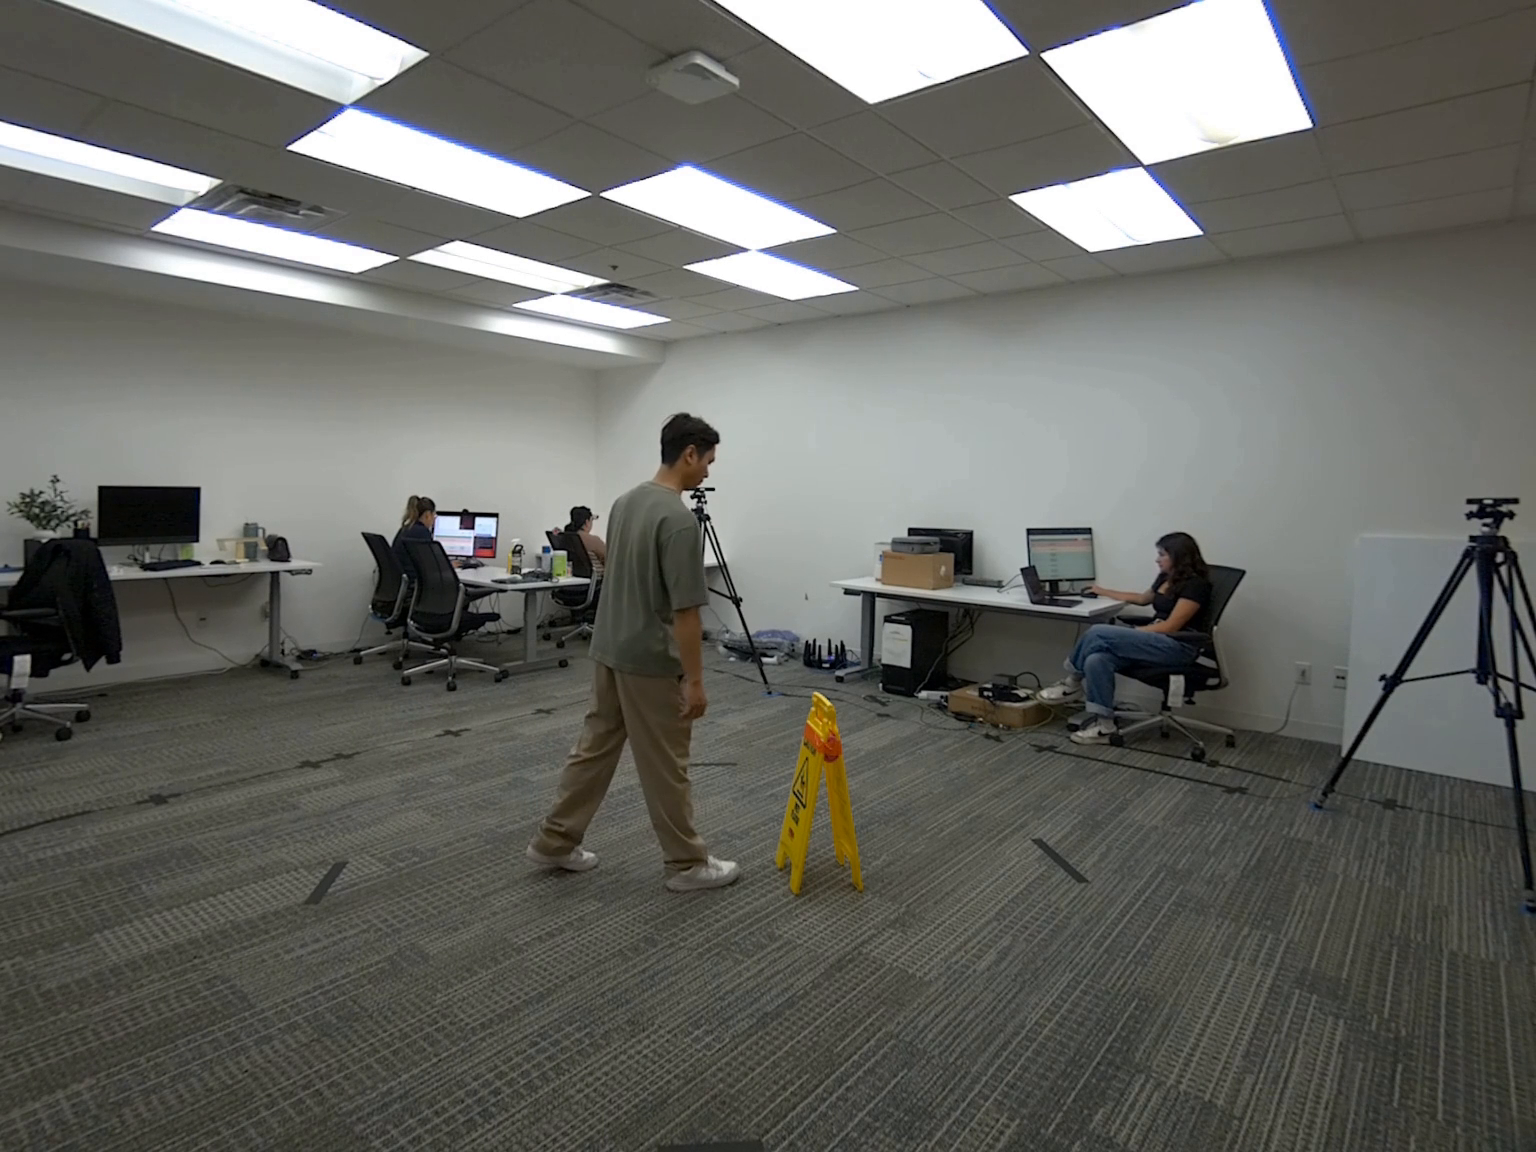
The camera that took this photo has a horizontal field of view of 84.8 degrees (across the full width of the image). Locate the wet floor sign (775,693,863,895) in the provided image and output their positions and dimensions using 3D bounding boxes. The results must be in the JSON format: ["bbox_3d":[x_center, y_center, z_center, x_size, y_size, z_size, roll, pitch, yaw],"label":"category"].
[{"bbox_3d":[0.179,0.761,3.044,0.286,0.643,0.287,1,5,-11],"label":"wet floor sign"}]
